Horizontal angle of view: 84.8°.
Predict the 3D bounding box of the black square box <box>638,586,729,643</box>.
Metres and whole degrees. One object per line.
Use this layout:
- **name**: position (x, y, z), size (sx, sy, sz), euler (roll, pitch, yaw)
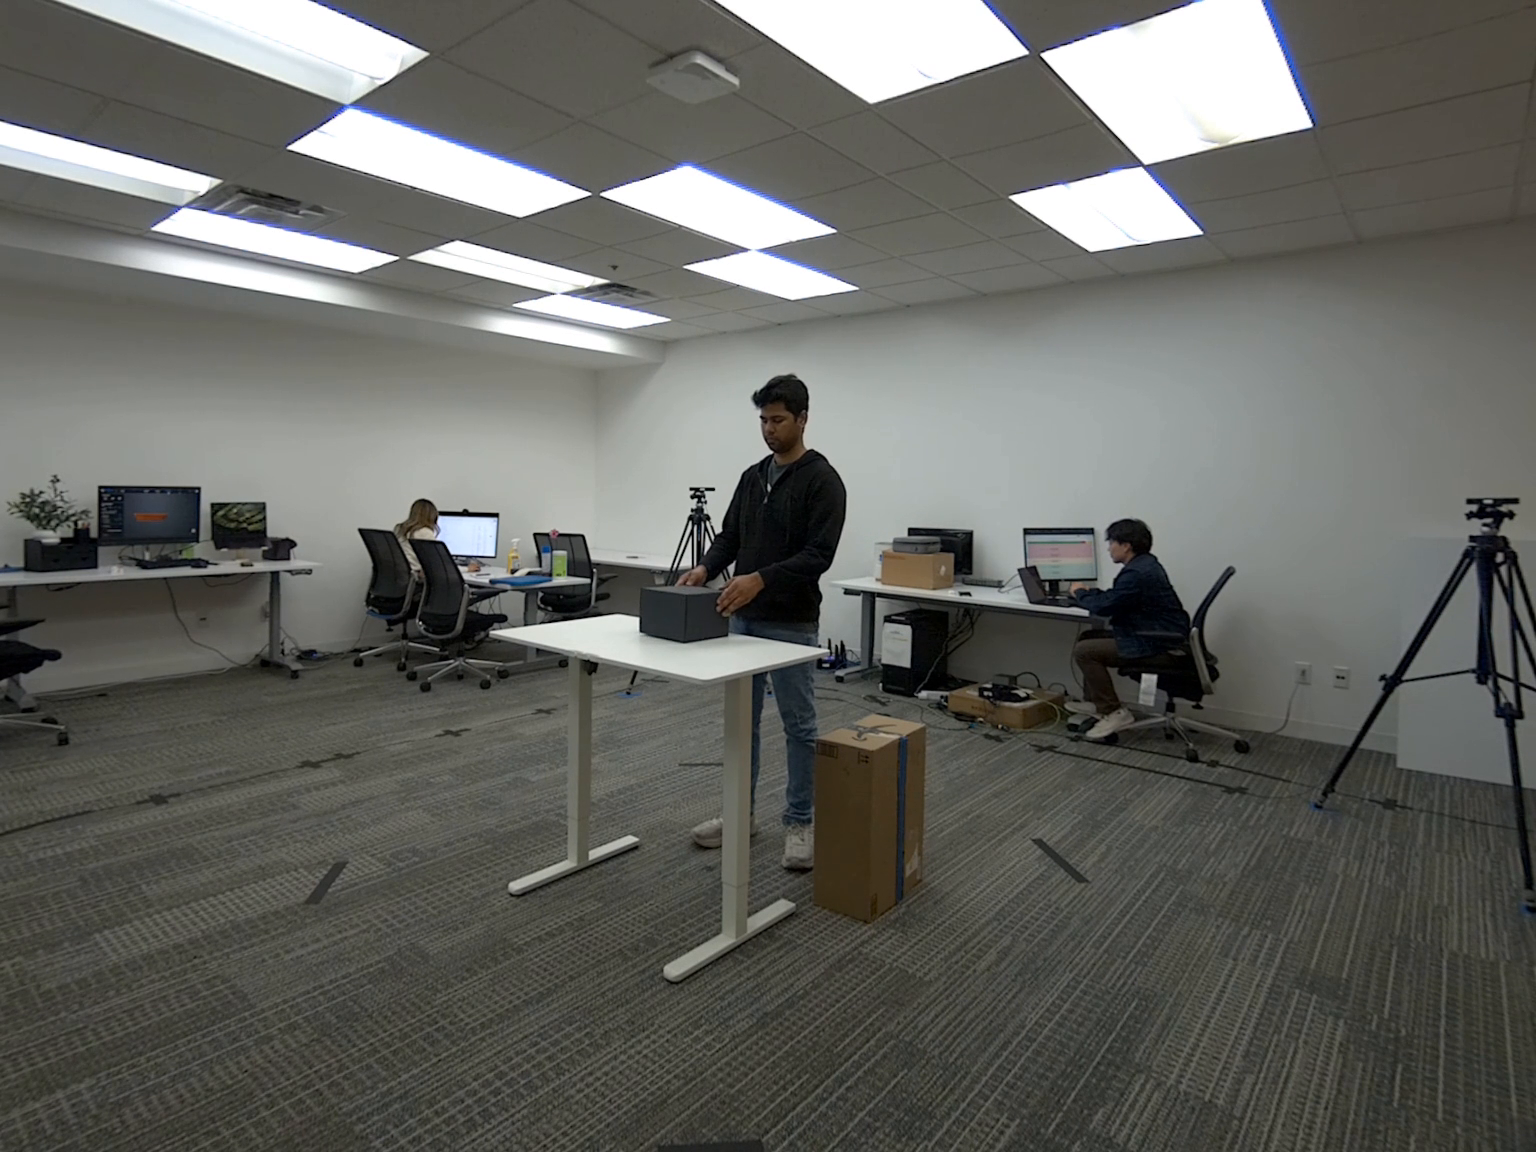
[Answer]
- **black square box**: position (-0.289, 0.113, 2.900), size (0.236, 0.155, 0.210), euler (6, 4, 41)
